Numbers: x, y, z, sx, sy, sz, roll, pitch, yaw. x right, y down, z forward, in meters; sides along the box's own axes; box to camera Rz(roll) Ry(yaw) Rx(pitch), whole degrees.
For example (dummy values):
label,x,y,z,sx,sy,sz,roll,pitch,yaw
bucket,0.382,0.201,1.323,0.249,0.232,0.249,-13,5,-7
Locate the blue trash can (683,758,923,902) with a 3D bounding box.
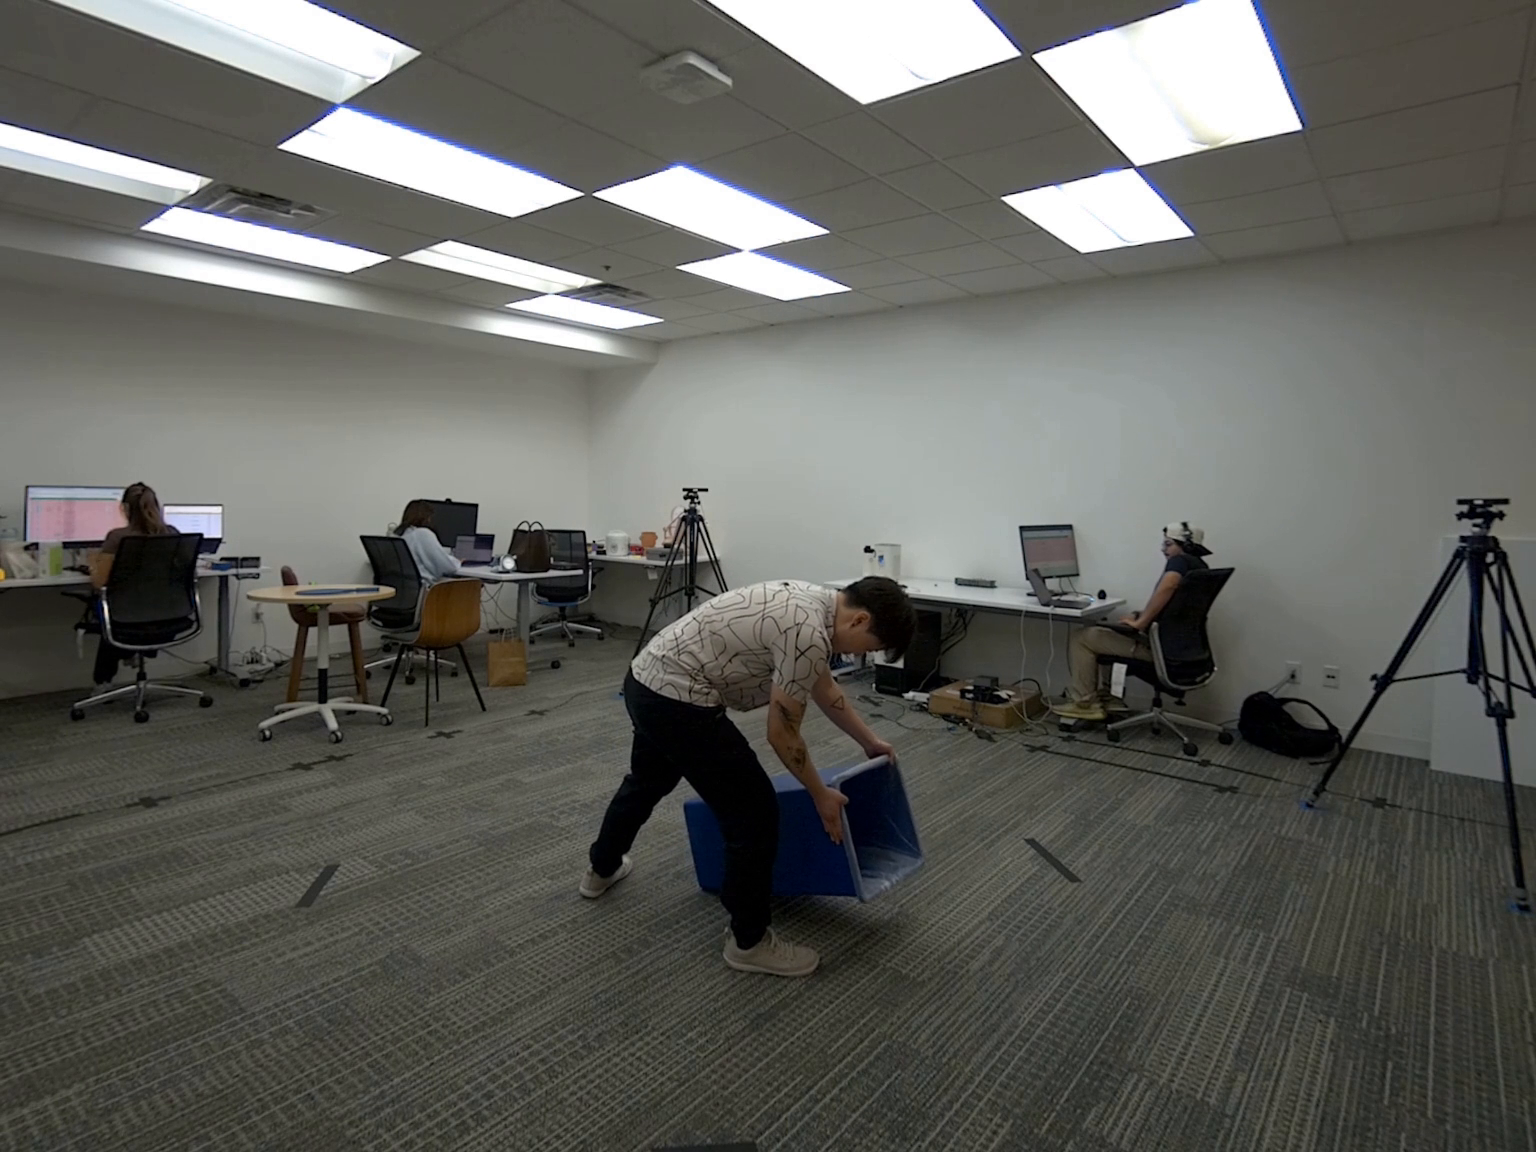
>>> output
label,x,y,z,sx,sy,sz,roll,pitch,yaw
blue trash can,0.078,0.842,2.854,0.728,0.382,0.363,-18,-9,41
